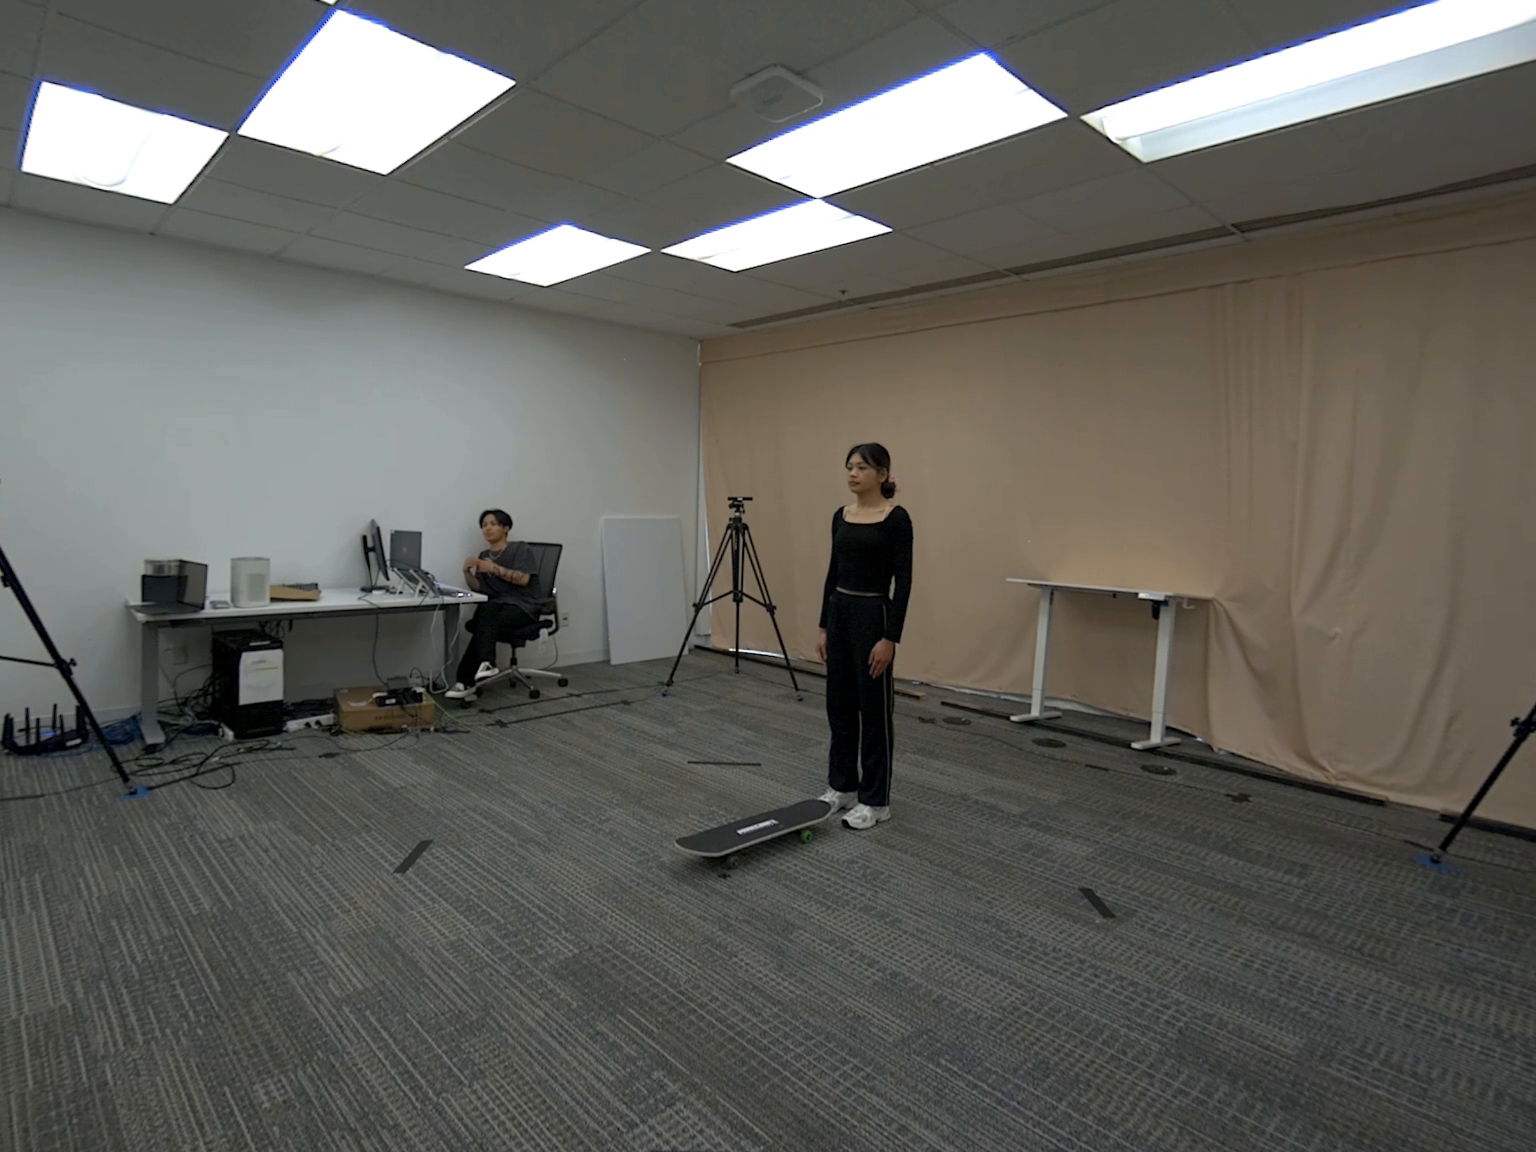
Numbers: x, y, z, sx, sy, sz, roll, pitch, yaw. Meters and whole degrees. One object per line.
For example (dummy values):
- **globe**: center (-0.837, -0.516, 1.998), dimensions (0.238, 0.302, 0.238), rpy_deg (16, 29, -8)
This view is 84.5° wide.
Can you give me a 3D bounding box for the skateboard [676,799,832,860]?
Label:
- **skateboard**: center (-0.046, 1.032, 3.354), dimensions (0.767, 0.110, 0.198), rpy_deg (-3, 7, -43)
